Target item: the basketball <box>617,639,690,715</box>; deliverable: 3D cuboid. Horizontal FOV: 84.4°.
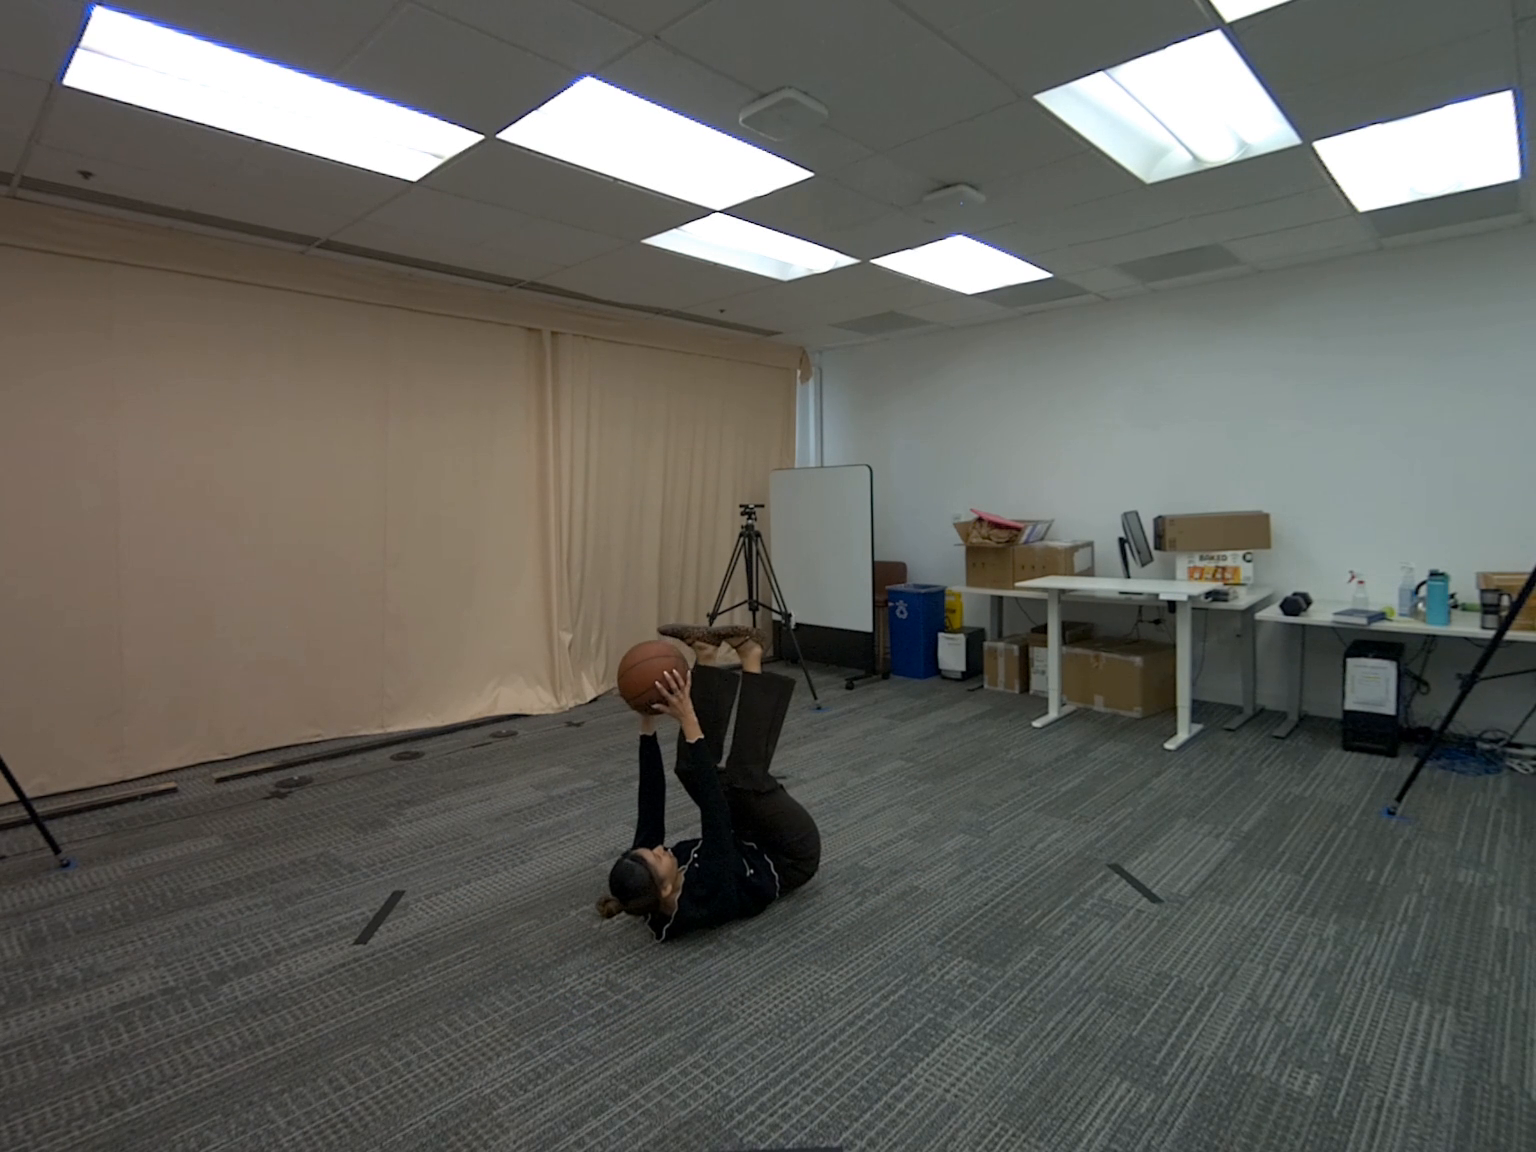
[{"bbox_3d":[-0.357,0.323,2.696,0.236,0.235,0.237,-1,4,-2],"label":"basketball"}]
